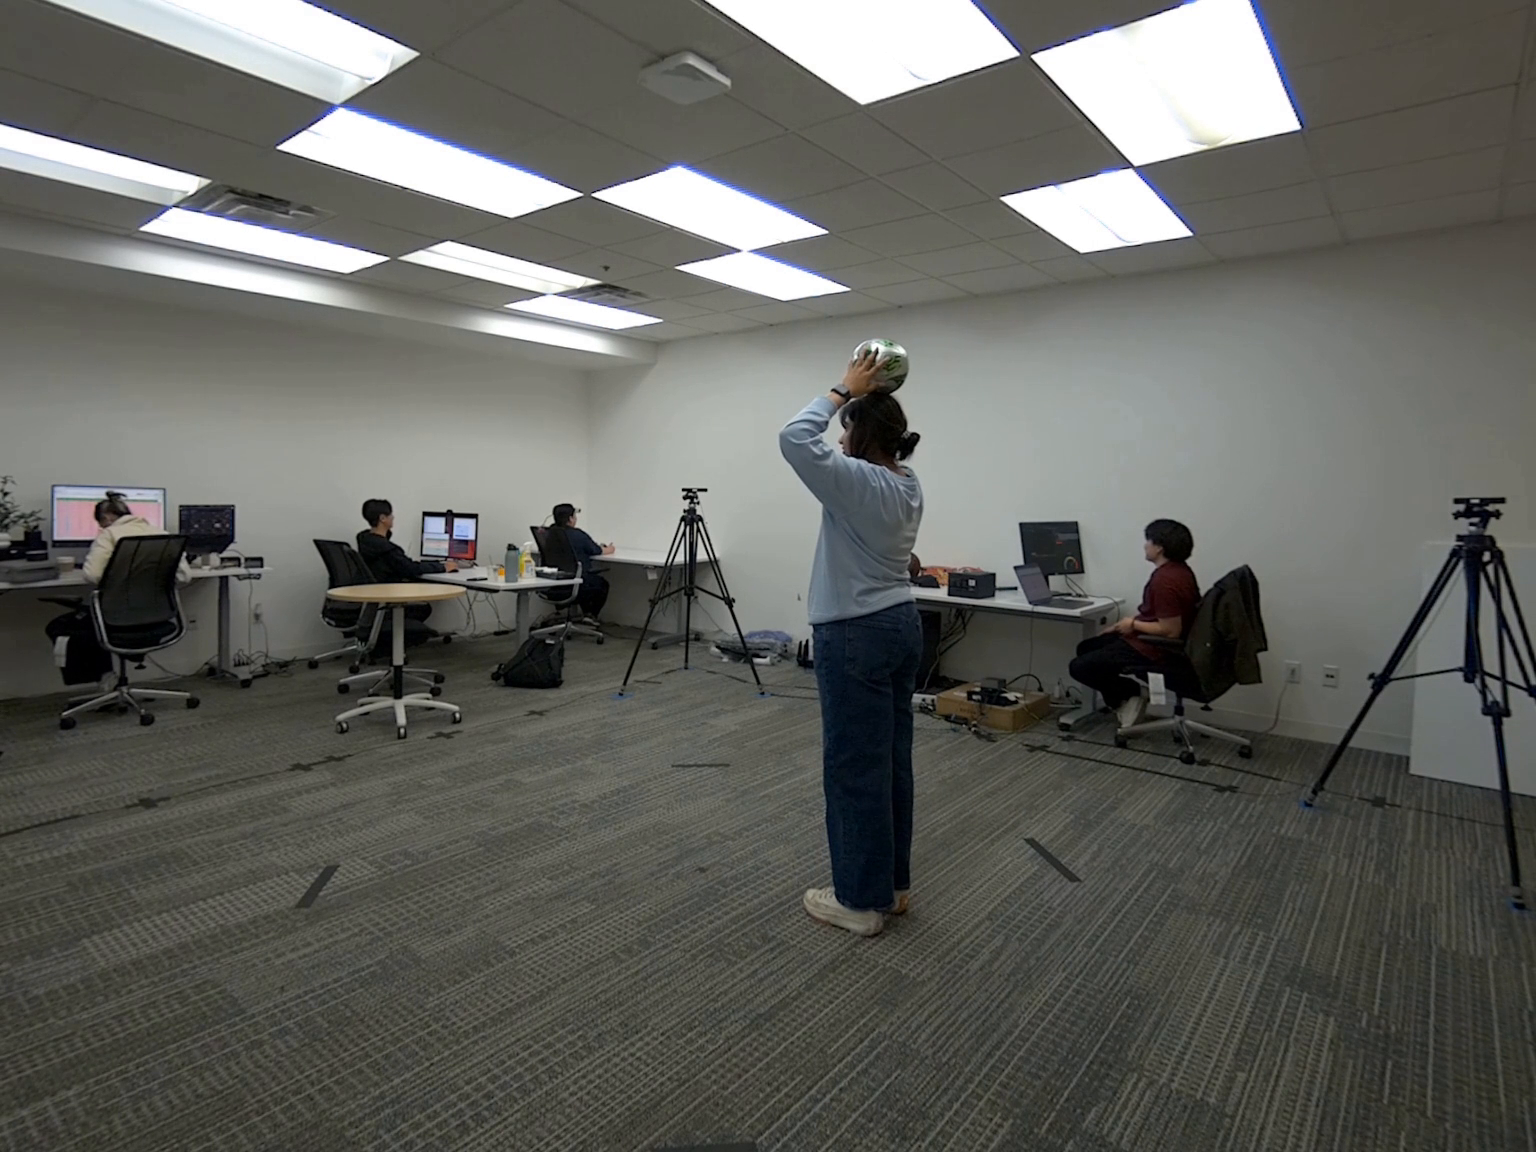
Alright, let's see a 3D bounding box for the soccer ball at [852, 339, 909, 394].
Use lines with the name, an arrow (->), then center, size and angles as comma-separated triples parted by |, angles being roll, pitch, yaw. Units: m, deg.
soccer ball -> 0.350, -0.673, 2.736 | 0.187, 0.187, 0.188 | 1, 4, -2
